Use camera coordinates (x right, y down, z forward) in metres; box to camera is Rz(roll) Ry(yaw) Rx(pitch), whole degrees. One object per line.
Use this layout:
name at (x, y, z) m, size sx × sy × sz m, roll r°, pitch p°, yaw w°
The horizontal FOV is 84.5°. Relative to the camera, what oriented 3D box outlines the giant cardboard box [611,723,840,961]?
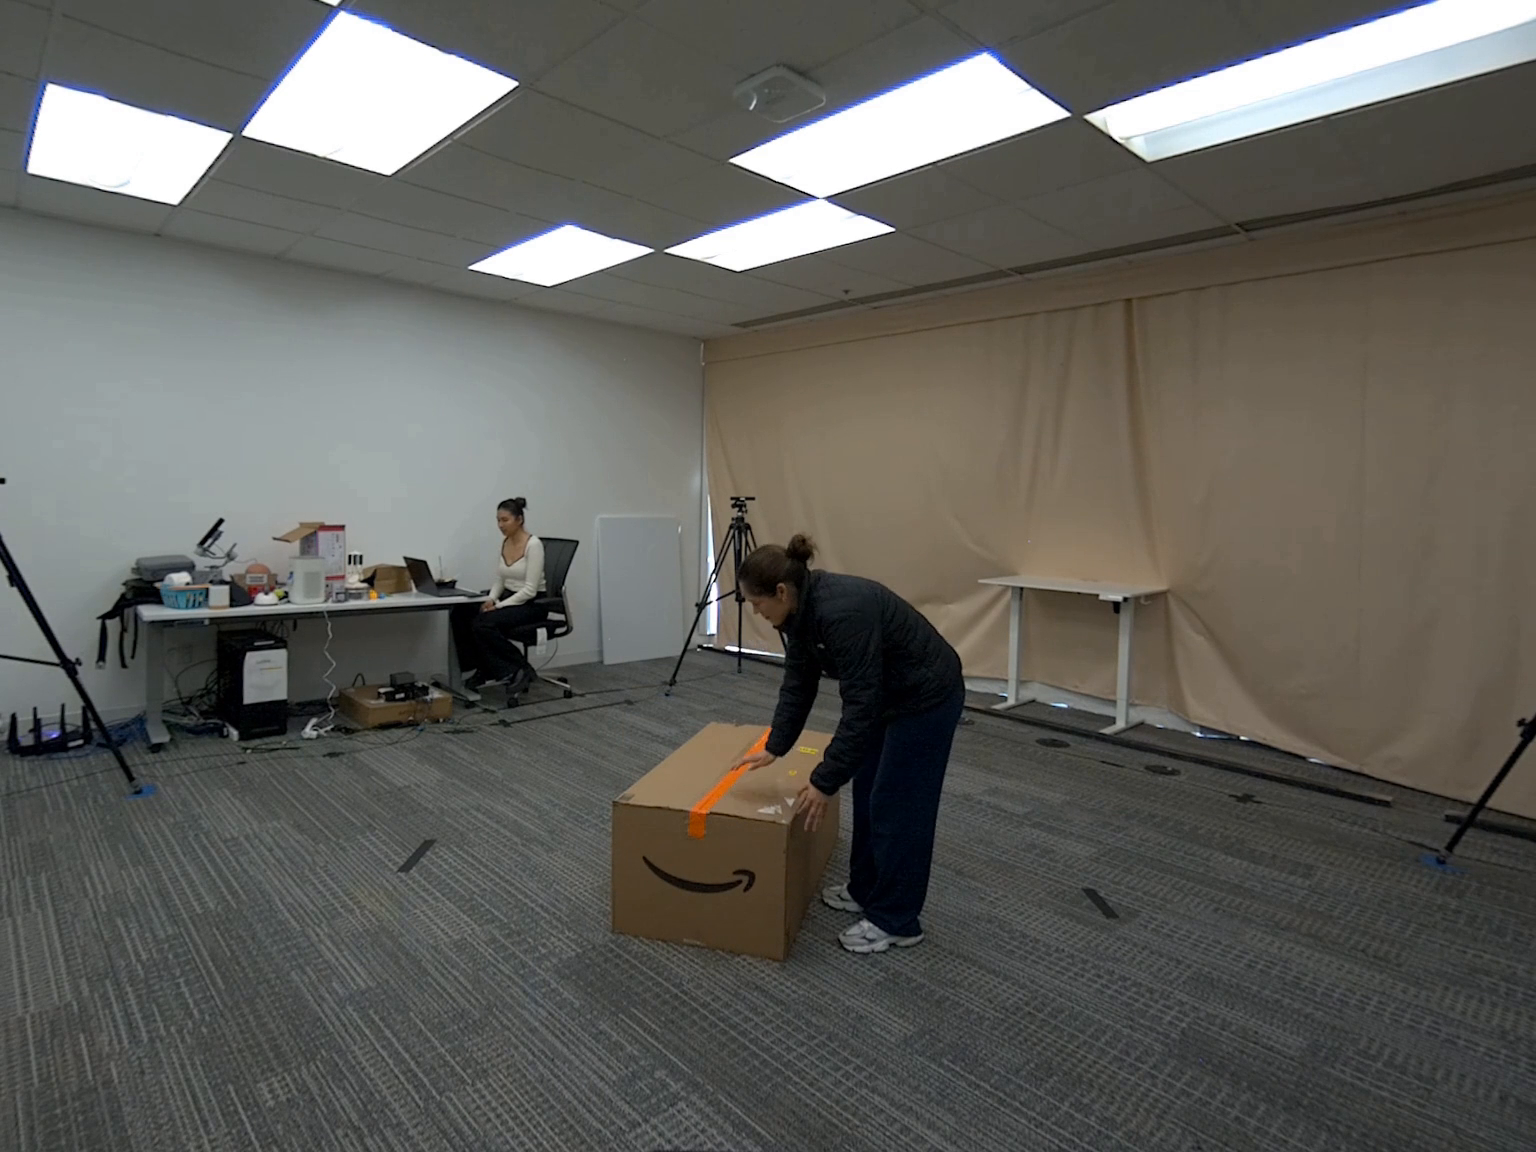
giant cardboard box at (-0.100, 0.892, 3.070) m, size 0.584 × 0.425 × 1.016 m, roll 3°, pitch 5°, yaw 14°
